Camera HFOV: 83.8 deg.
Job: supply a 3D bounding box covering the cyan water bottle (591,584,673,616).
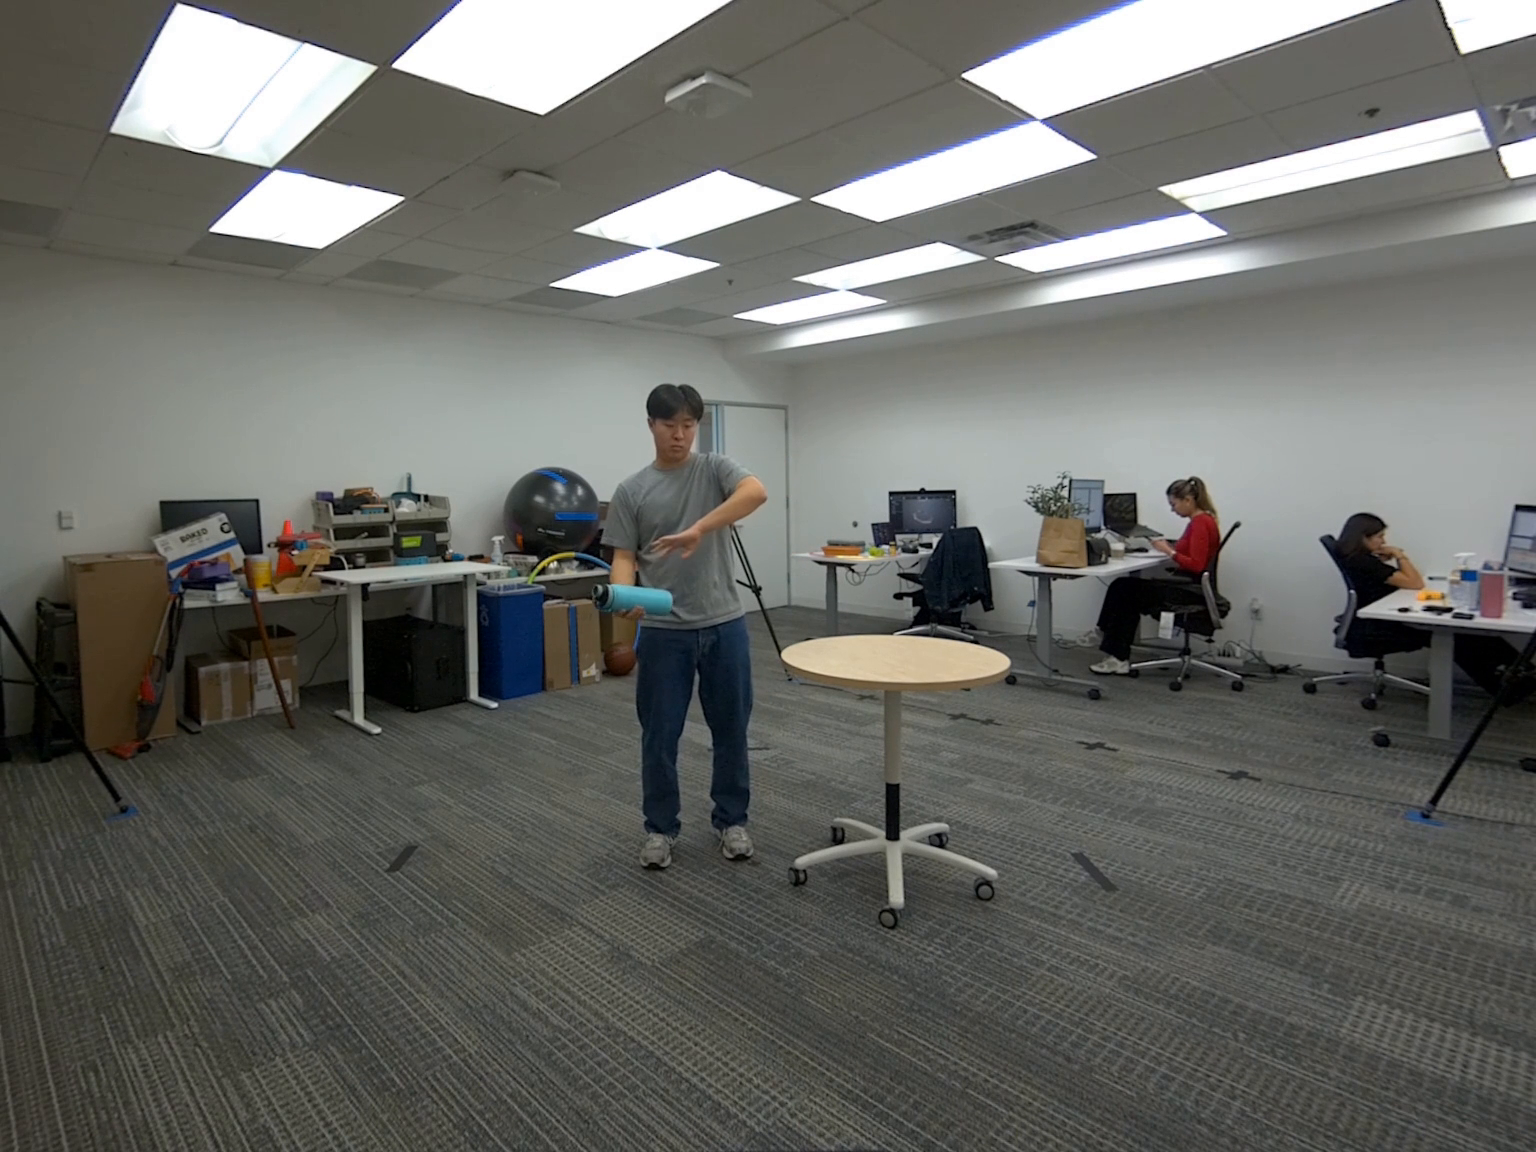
[{"bbox_3d":[-0.454,0.057,2.830,0.274,0.092,0.095,10,-4,-42],"label":"cyan water bottle"}]
